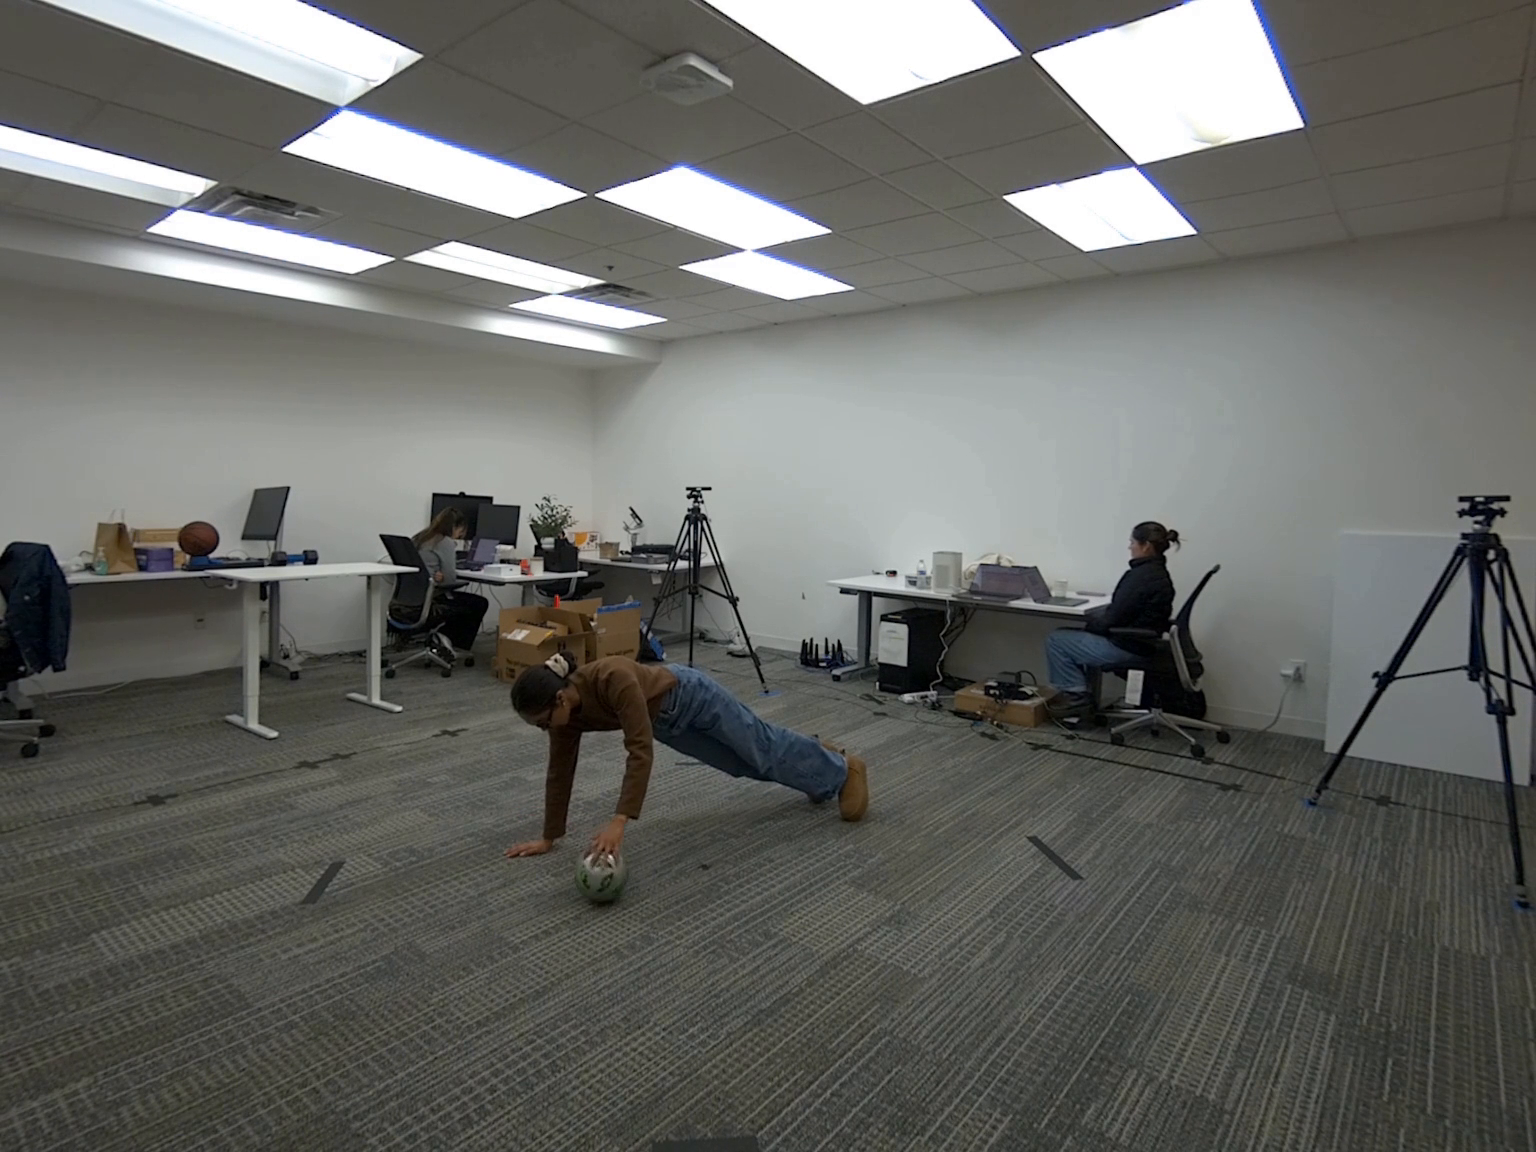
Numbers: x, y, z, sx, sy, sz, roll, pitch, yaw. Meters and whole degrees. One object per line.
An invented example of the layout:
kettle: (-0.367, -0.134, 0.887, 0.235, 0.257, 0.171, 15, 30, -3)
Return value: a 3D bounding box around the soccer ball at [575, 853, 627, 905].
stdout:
soccer ball: (-0.572, 0.992, 2.854, 0.187, 0.187, 0.188, 1, 4, -2)
